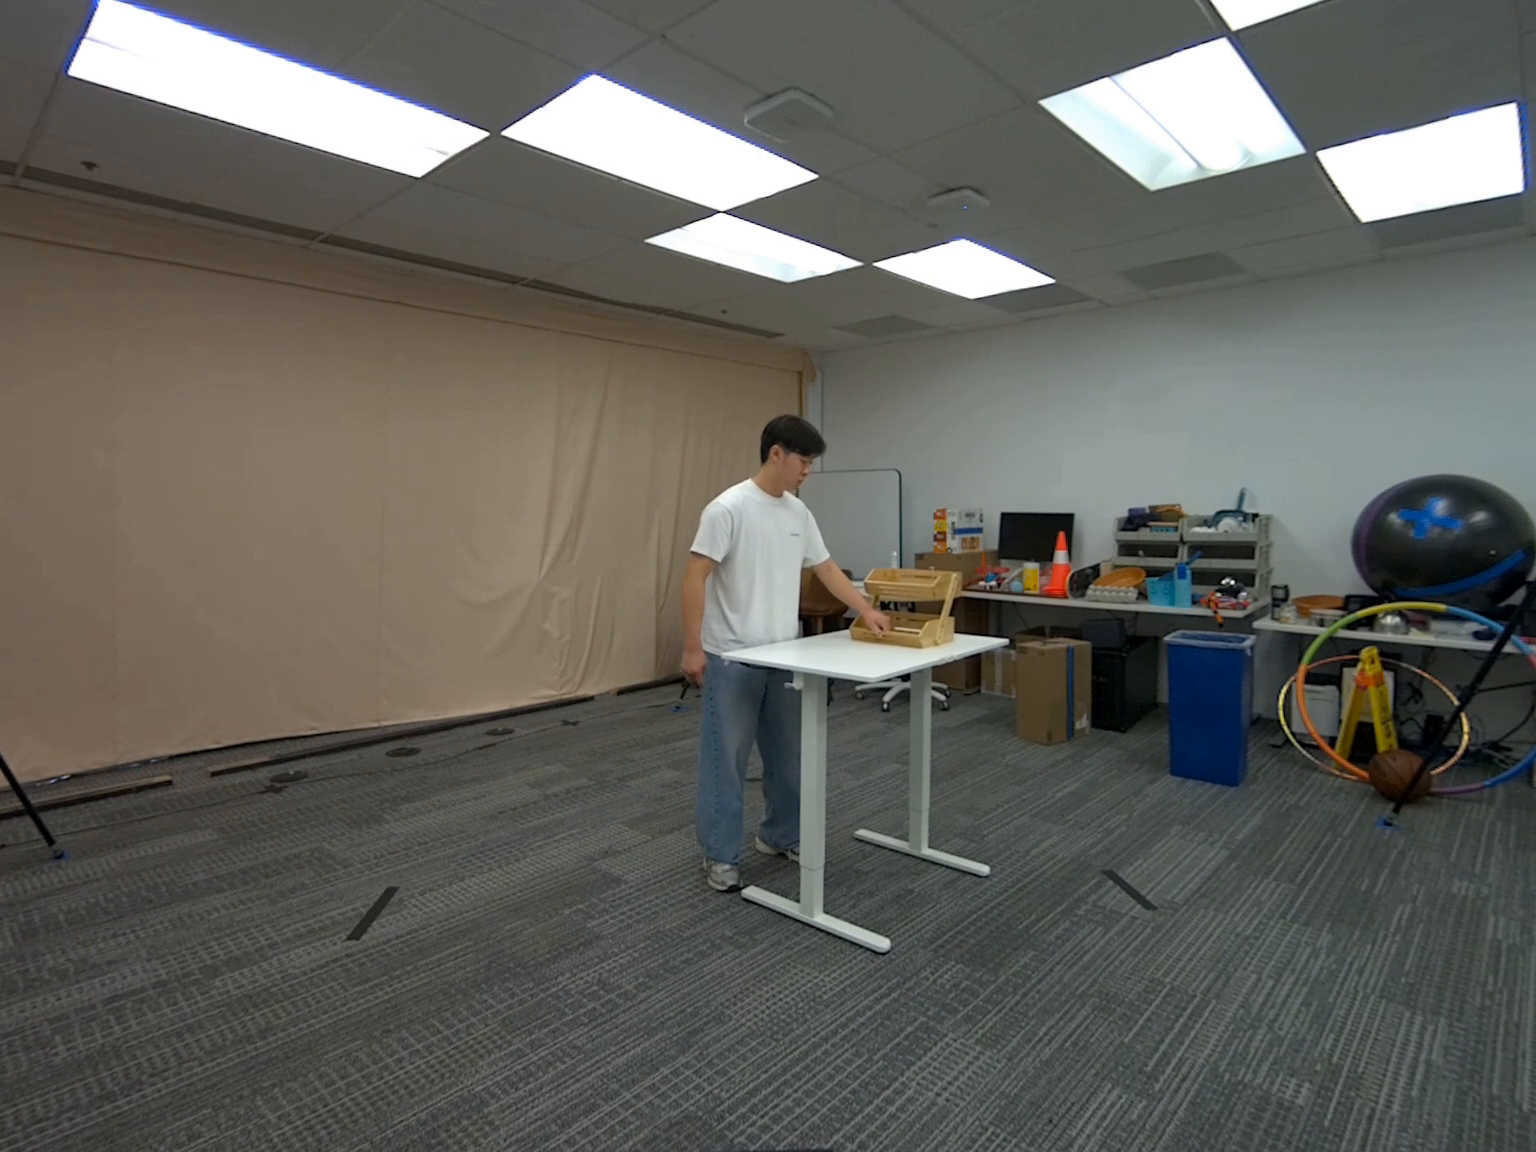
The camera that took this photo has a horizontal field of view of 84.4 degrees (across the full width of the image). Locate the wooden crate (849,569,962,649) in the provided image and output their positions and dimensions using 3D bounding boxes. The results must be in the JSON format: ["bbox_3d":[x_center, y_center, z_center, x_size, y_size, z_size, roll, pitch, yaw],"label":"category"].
[{"bbox_3d":[0.524,0.112,3.178,0.335,0.273,0.292,3,4,41],"label":"wooden crate"}]
